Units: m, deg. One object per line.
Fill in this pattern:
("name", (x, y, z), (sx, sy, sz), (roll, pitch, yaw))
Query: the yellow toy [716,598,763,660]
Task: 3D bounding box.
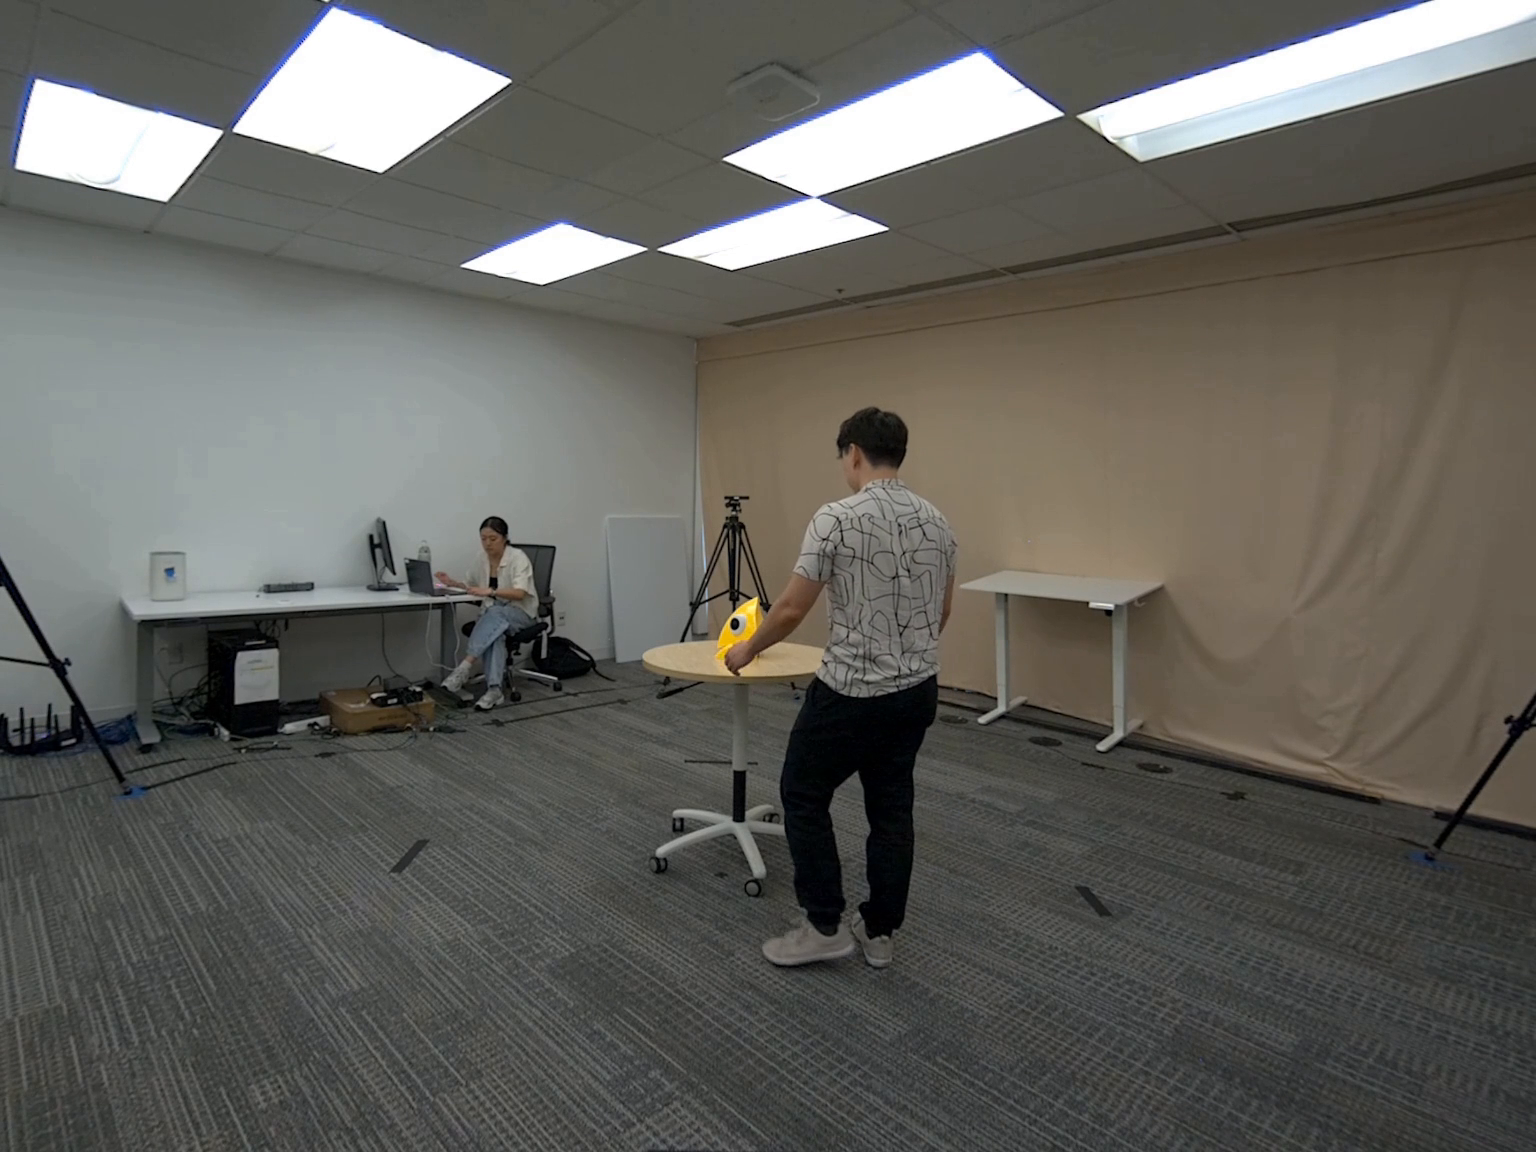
("yellow toy", (-0.110, 0.195, 3.243), (0.195, 0.230, 0.203), (3, 4, 13))
